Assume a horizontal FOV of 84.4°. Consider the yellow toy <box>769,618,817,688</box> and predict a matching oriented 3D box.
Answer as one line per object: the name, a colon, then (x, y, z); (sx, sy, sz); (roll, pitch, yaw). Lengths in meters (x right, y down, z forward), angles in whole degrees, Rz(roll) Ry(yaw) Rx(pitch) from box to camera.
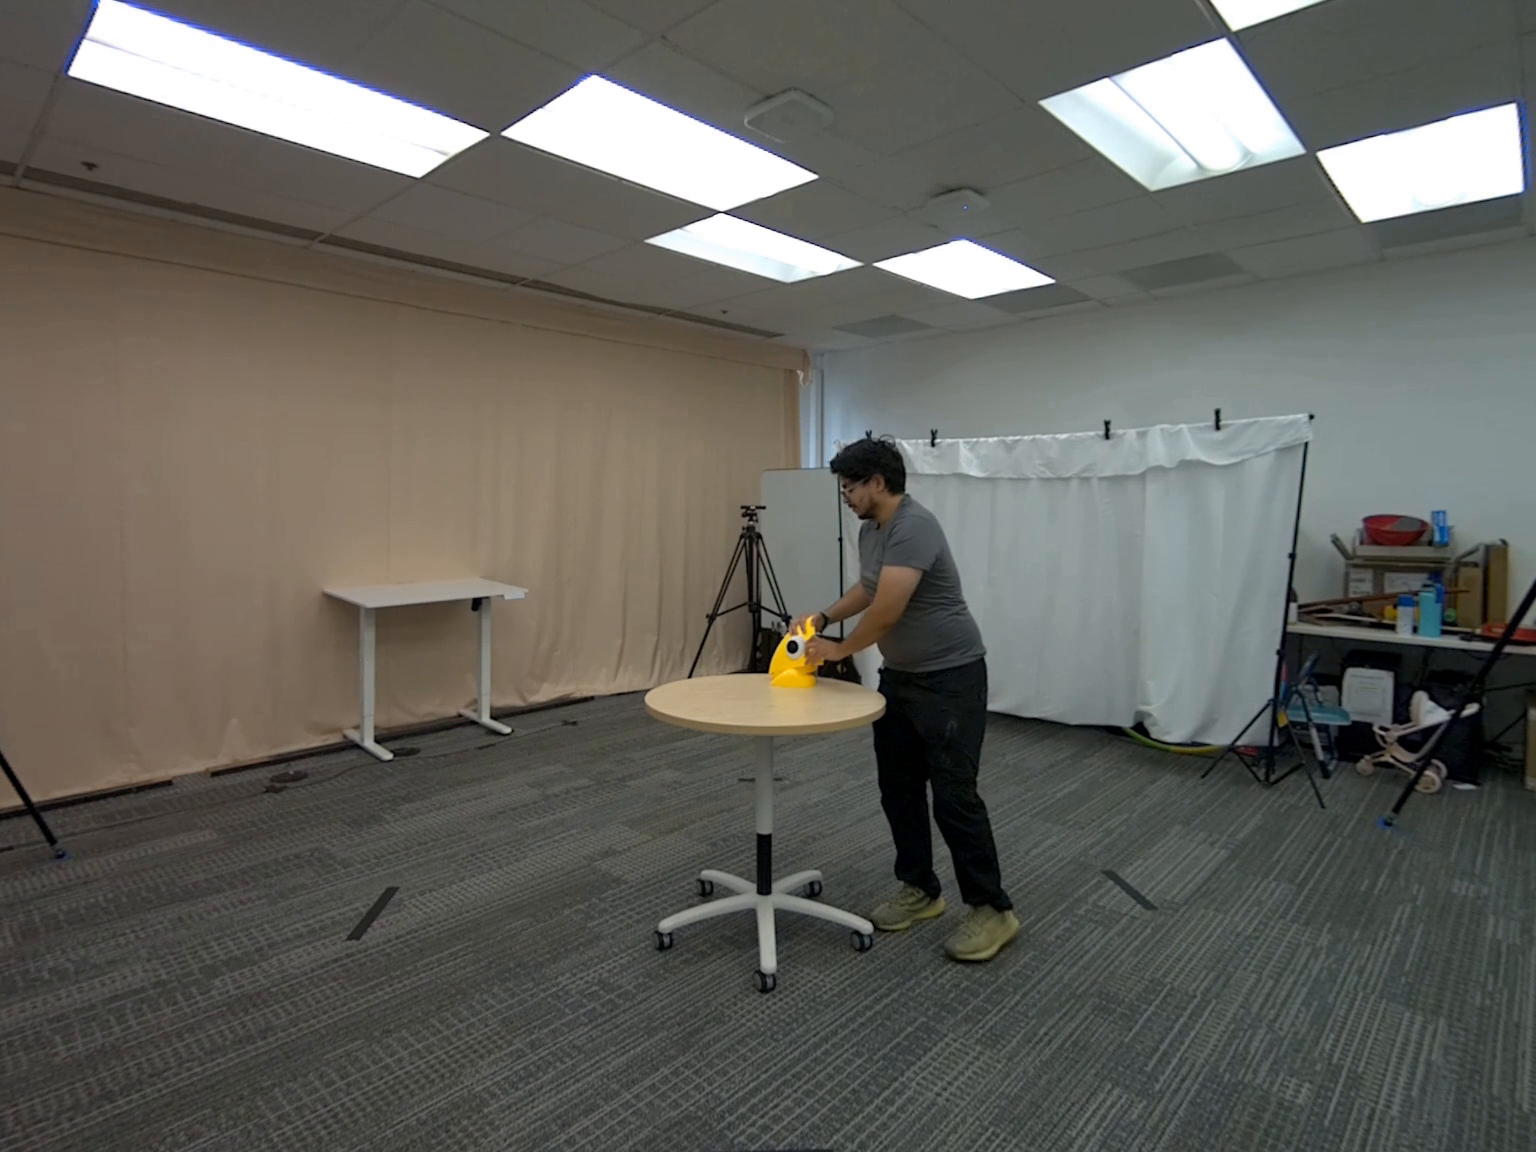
yellow toy: (0.102, 0.255, 2.940); (0.194, 0.230, 0.204); (0, 4, 6)
